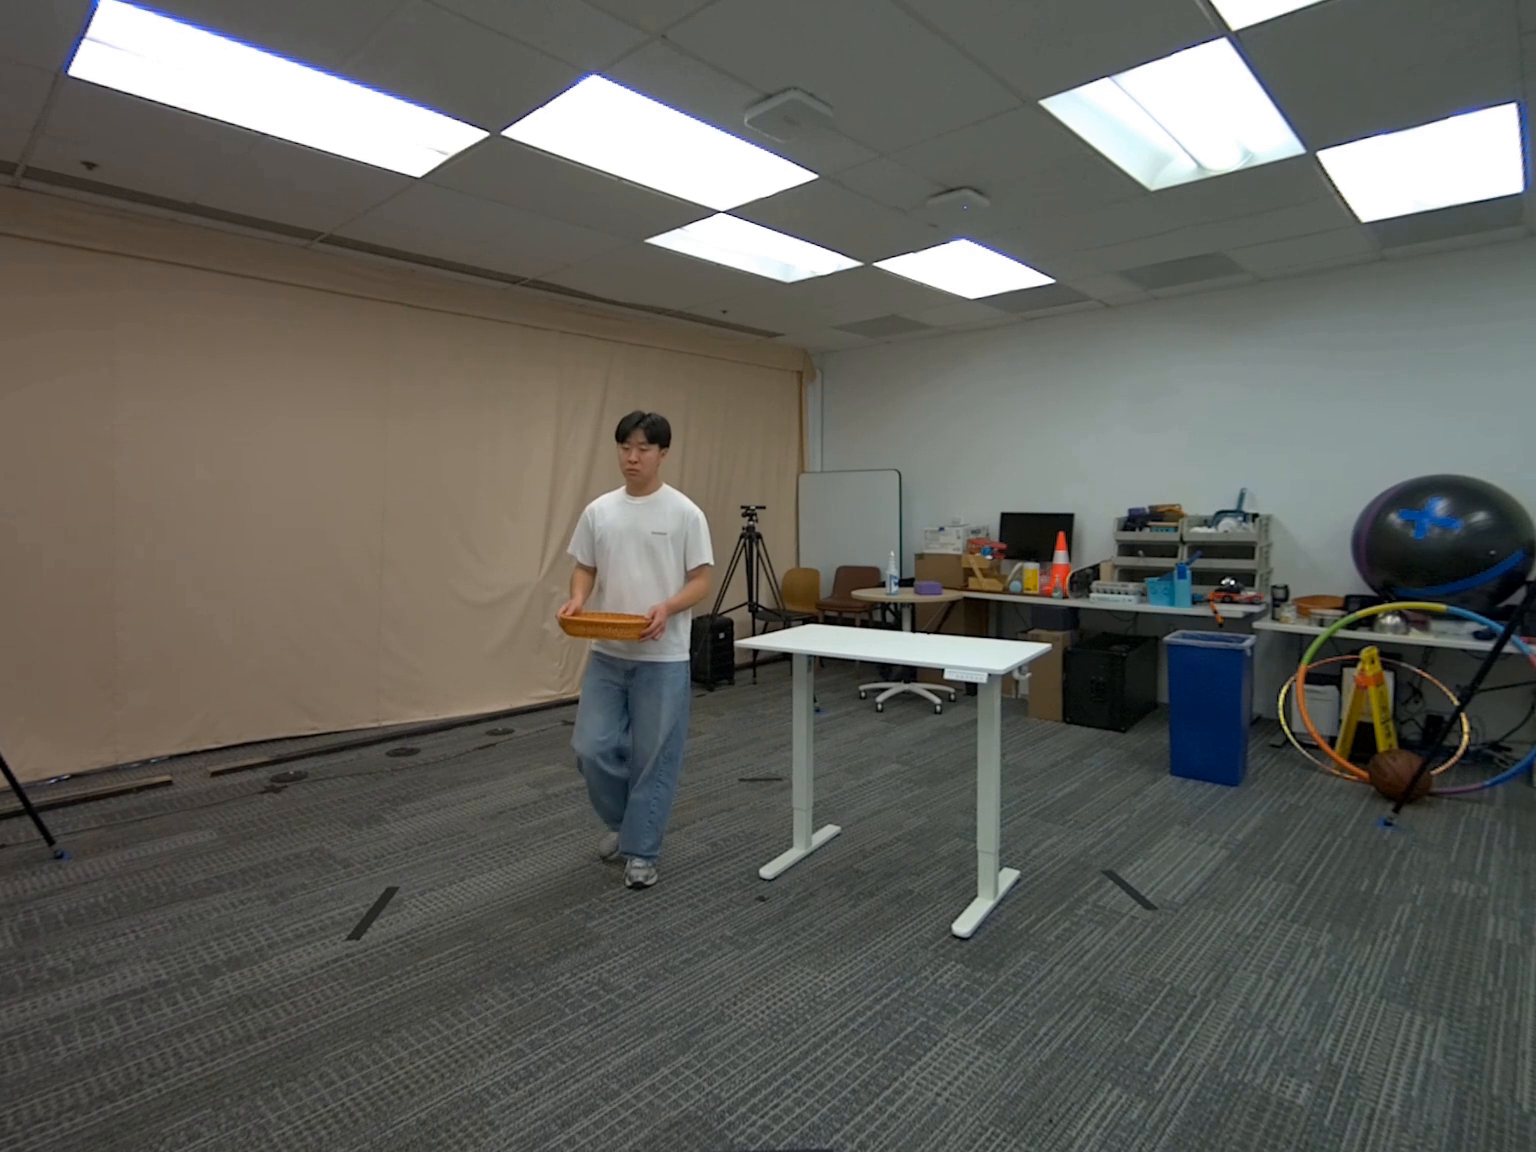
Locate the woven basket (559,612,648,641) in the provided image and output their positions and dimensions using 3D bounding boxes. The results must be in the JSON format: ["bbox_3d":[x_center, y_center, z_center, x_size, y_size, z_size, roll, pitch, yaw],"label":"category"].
[{"bbox_3d":[-0.576,0.172,2.978,0.360,0.073,0.246,3,6,29],"label":"woven basket"}]
